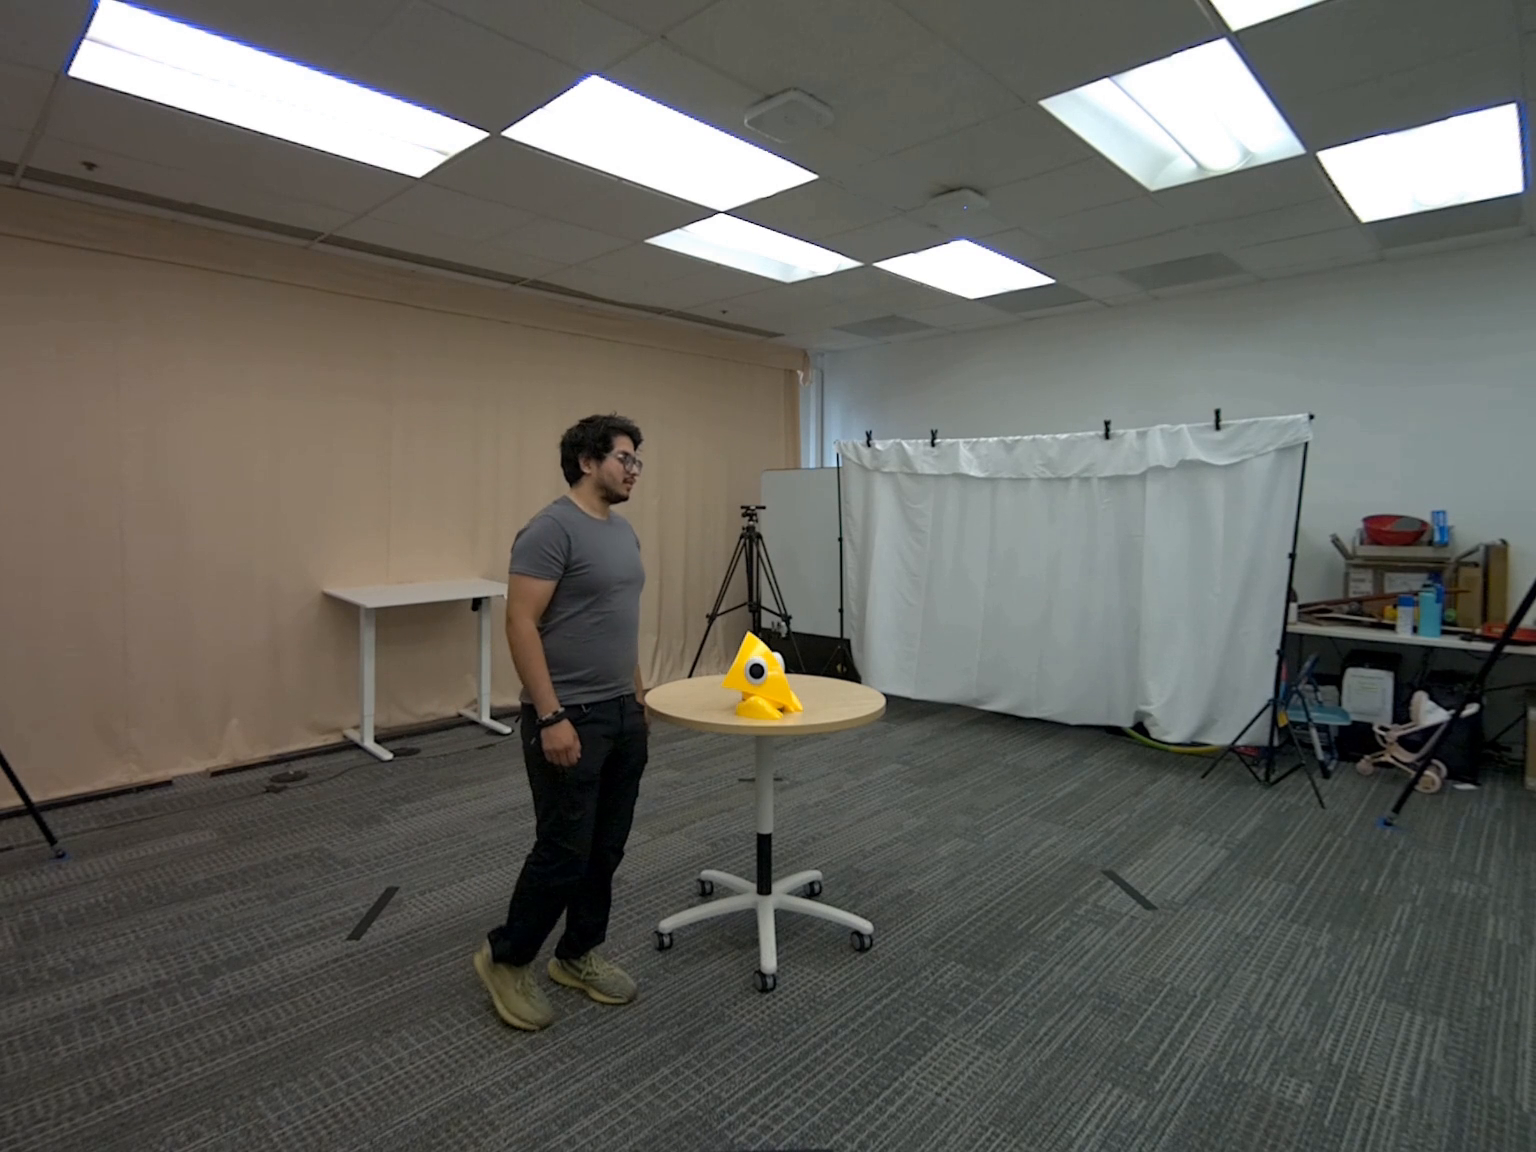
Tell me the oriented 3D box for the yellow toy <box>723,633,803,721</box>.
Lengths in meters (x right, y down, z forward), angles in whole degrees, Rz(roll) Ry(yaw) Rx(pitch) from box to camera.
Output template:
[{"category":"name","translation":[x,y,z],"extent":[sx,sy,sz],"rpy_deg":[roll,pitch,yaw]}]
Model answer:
[{"category":"yellow toy","translation":[-0.001,0.287,2.489],"extent":[0.199,0.230,0.199],"rpy_deg":[3,5,35]}]
